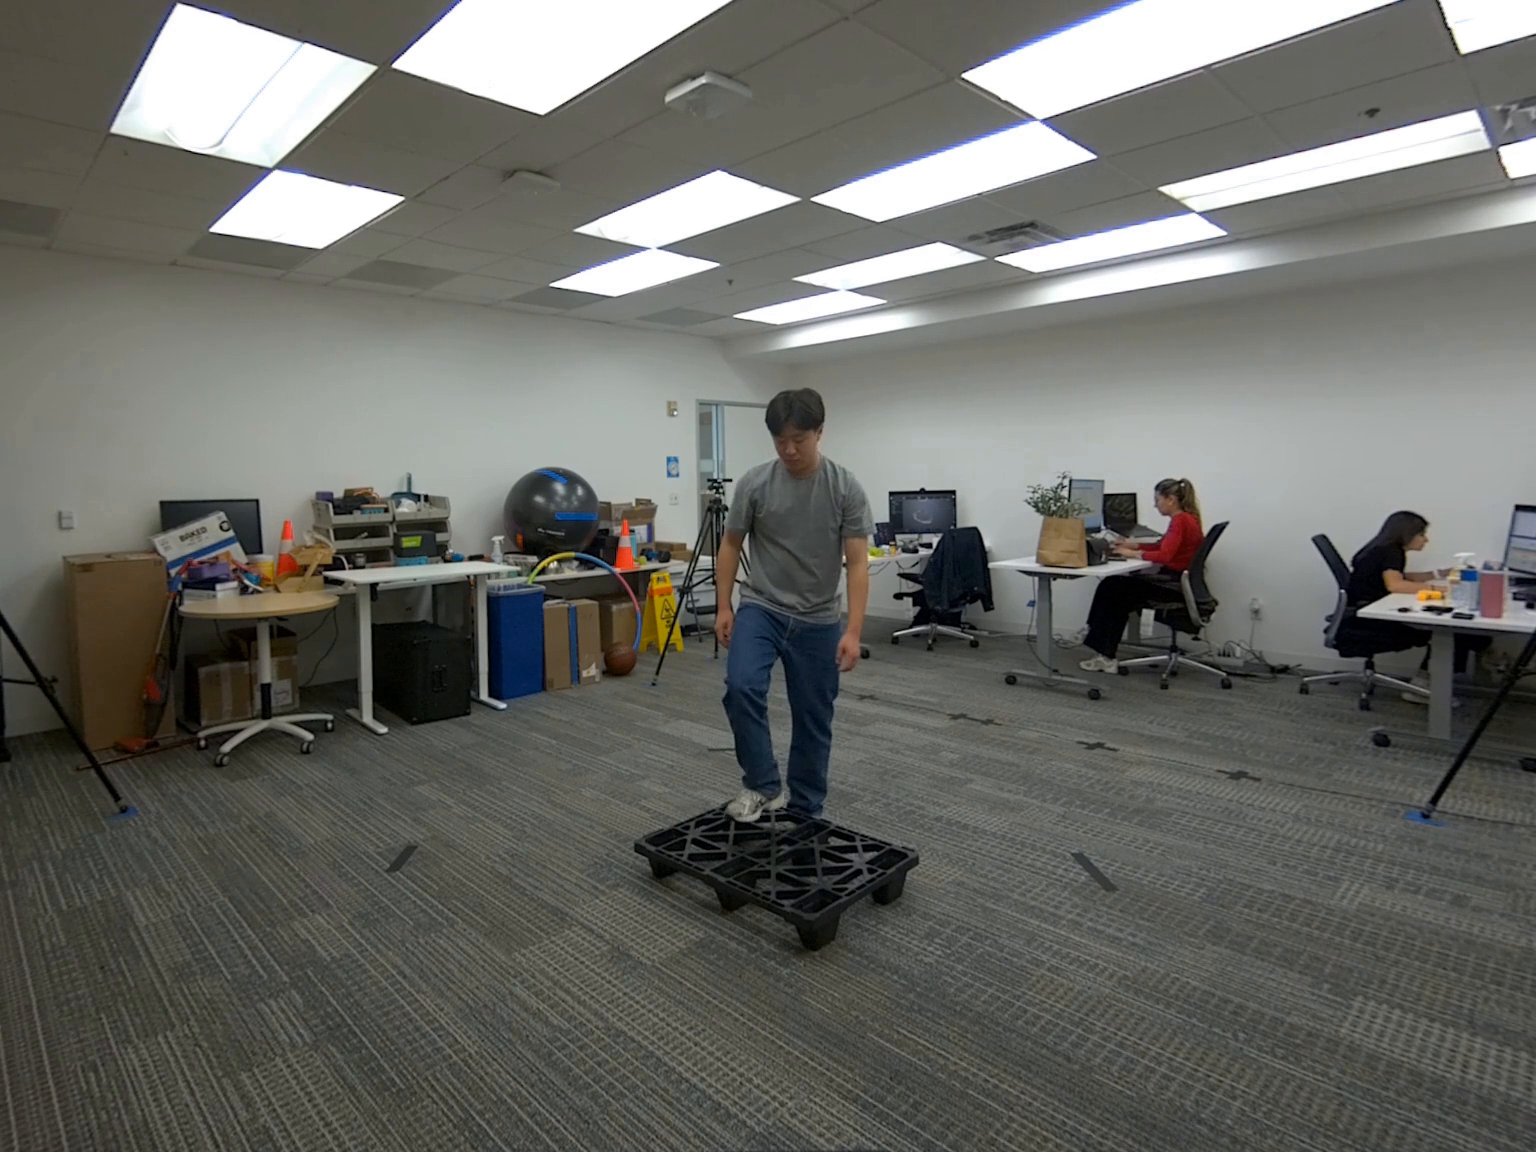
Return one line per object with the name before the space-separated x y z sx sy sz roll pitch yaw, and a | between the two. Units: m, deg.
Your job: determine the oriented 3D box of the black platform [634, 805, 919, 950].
black platform | 0.019 0.999 2.929 0.830 0.142 0.590 5 9 43
